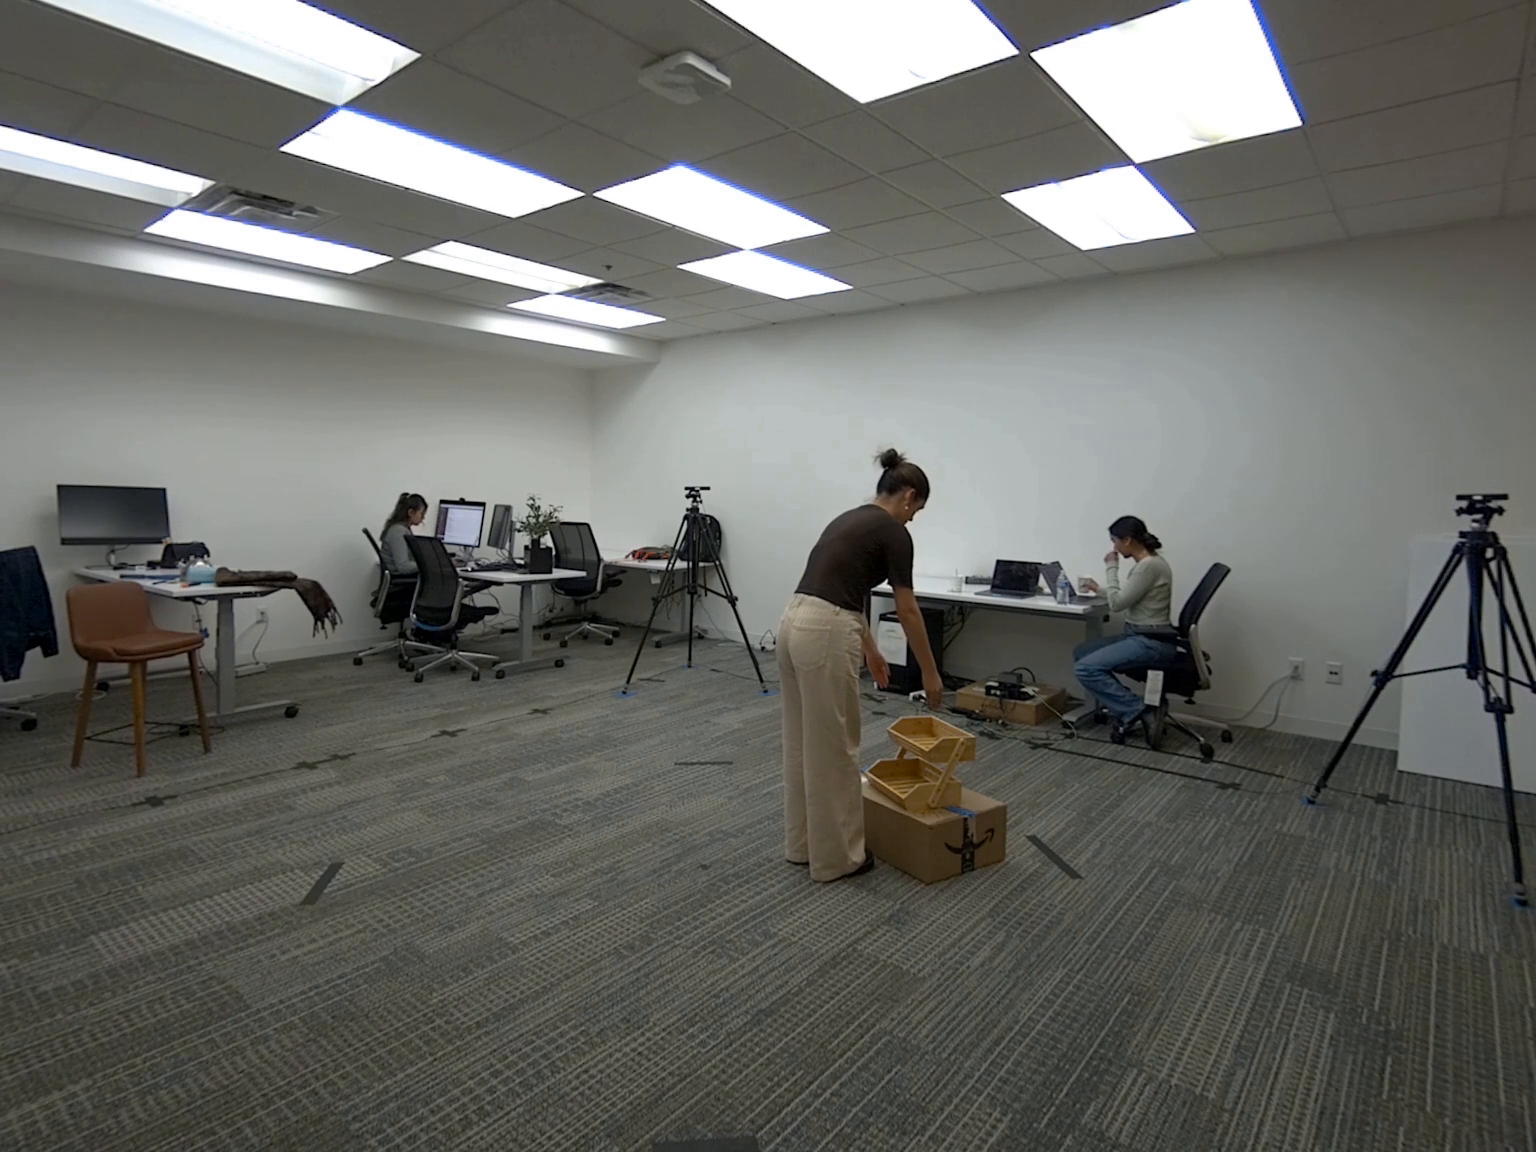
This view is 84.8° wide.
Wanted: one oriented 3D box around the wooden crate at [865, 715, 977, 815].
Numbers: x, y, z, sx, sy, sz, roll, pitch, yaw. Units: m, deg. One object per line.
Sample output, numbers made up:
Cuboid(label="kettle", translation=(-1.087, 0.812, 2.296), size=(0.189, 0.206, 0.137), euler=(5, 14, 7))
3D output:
Cuboid(label="wooden crate", translation=(0.567, 0.709, 3.314), size=(0.296, 0.272, 0.332), euler=(0, 5, -20))
